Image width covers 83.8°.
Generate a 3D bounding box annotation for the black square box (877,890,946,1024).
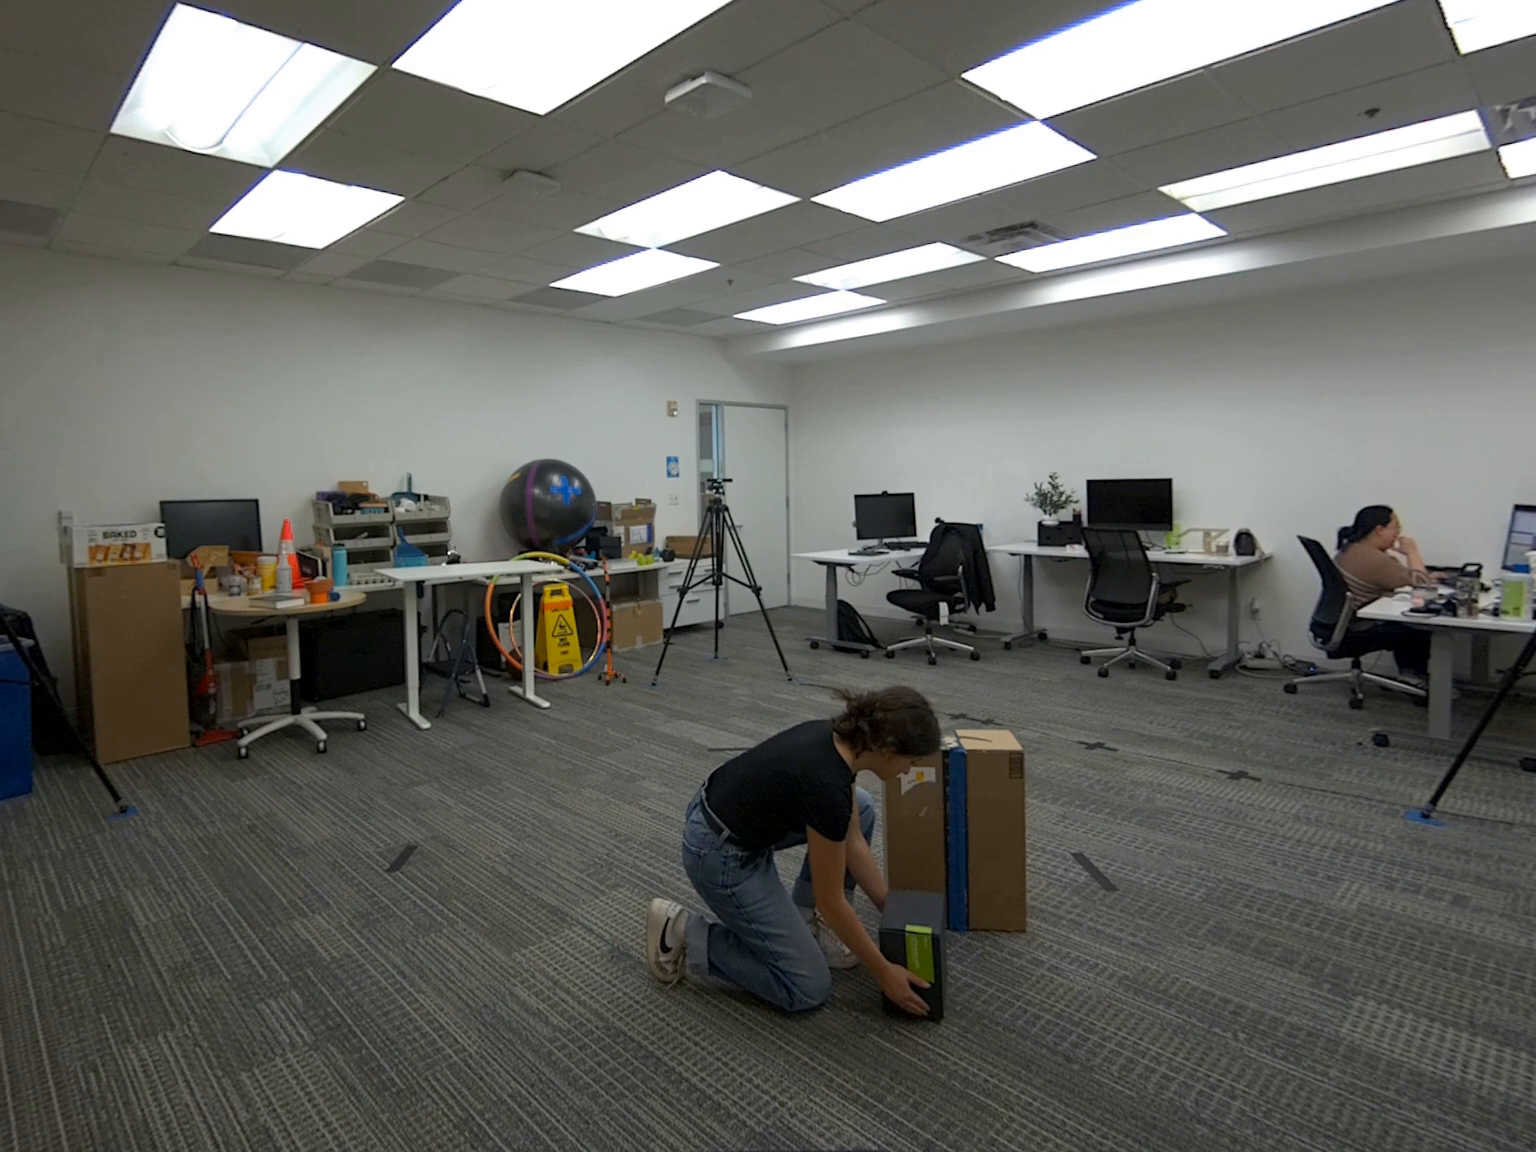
[{"bbox_3d":[0.386,0.999,2.292,0.158,0.227,0.214,-1,5,17],"label":"black square box"}]
